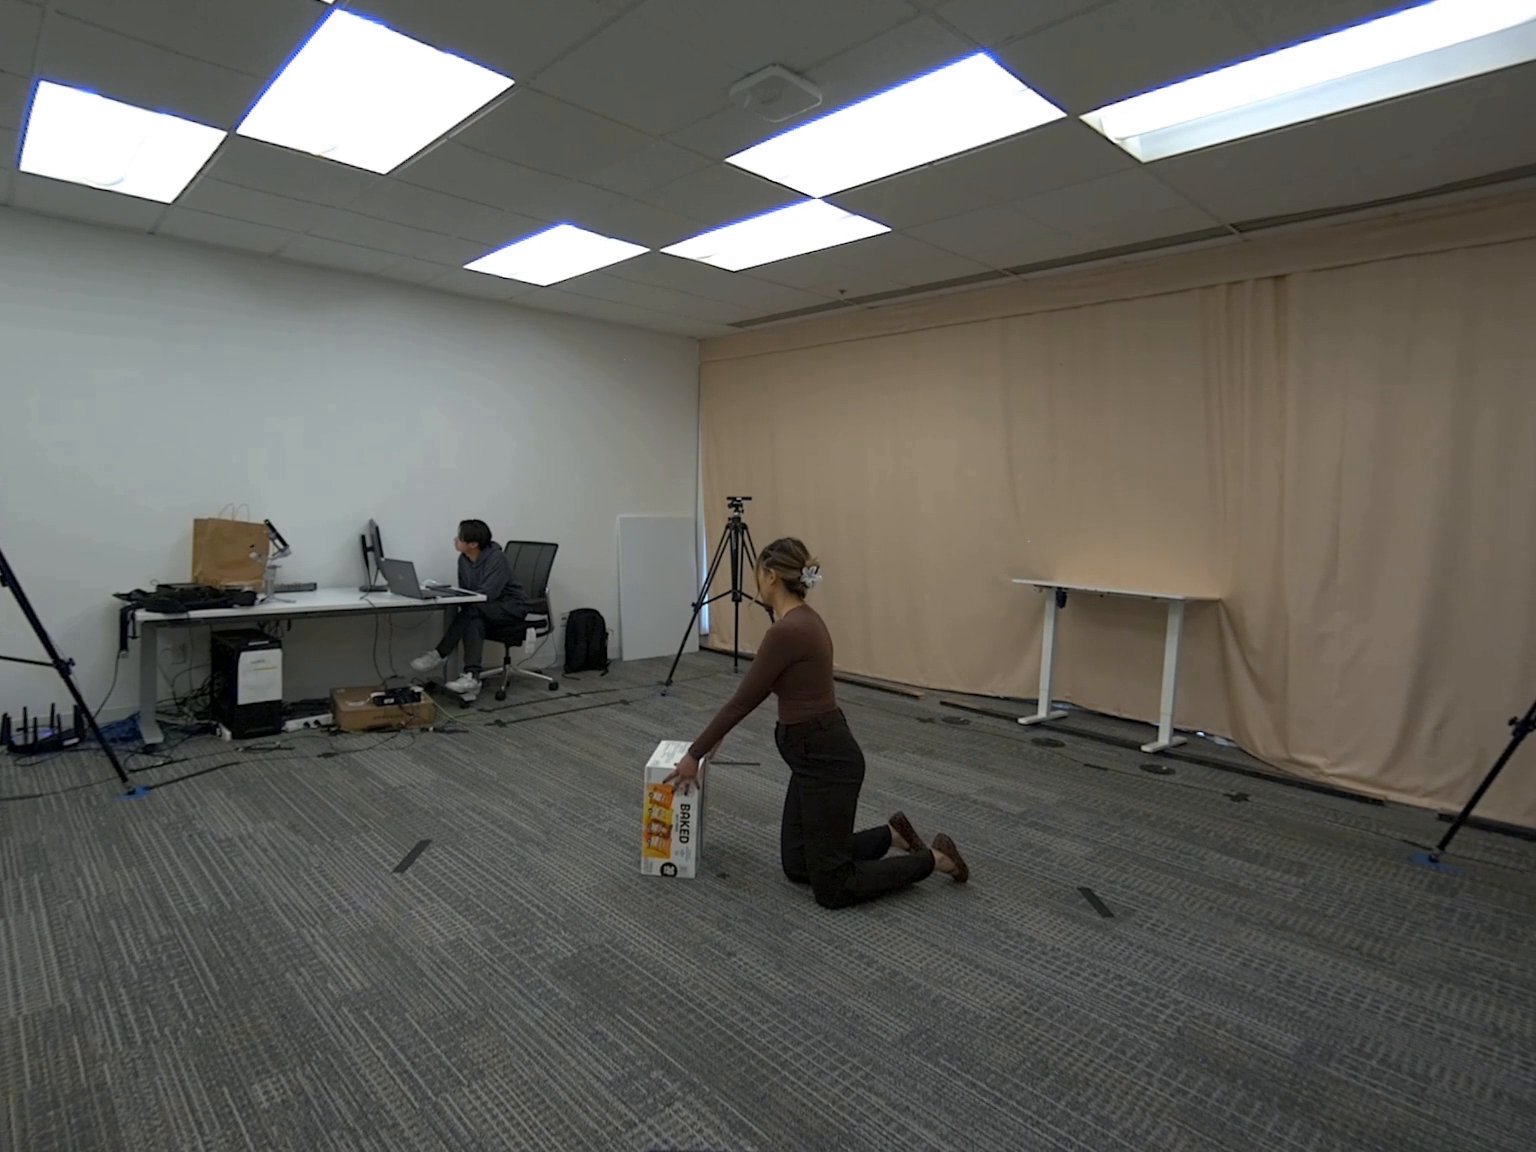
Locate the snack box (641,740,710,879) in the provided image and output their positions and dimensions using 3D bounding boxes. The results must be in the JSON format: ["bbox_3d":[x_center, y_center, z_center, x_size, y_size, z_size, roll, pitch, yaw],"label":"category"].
[{"bbox_3d":[-0.354,0.886,3.240,0.206,0.404,0.340,3,5,4],"label":"snack box"}]
